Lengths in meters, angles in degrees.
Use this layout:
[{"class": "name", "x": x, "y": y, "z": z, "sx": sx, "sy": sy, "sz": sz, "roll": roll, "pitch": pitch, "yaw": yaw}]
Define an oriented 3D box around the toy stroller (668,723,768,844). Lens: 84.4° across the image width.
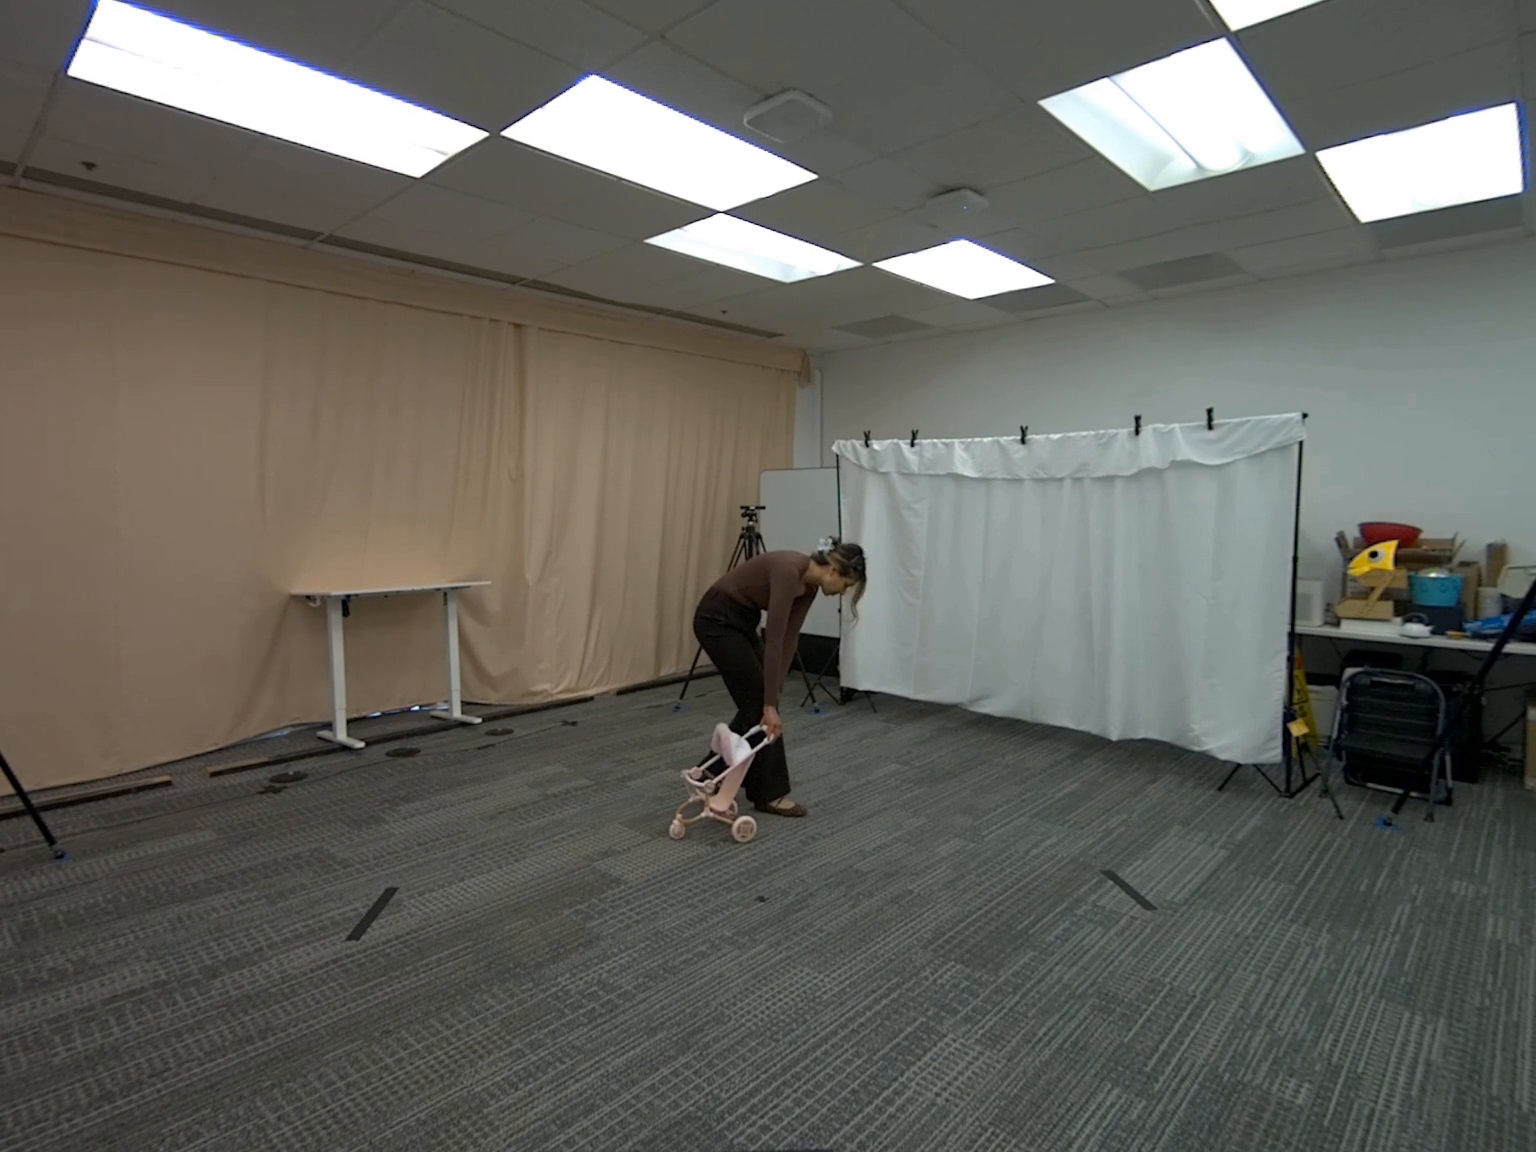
[{"class": "toy stroller", "x": -0.201, "y": 0.867, "z": 3.572, "sx": 0.336, "sy": 0.535, "sz": 0.286, "roll": 15, "pitch": -2, "yaw": -15}]
